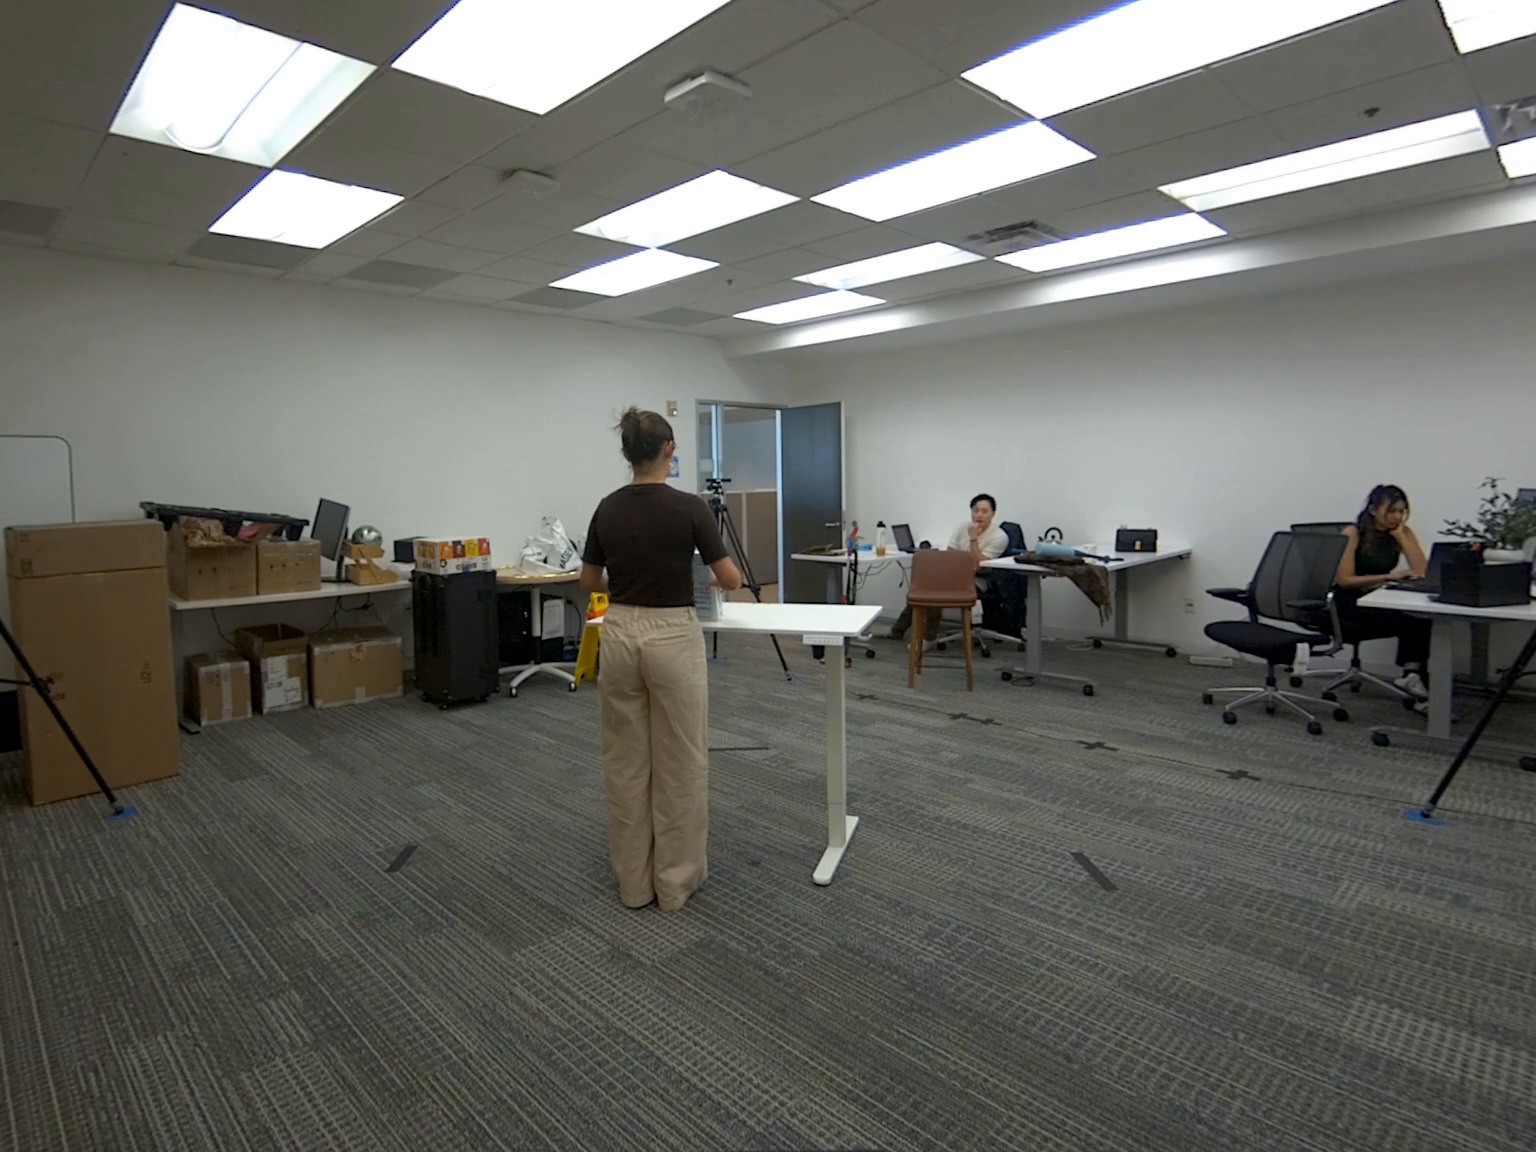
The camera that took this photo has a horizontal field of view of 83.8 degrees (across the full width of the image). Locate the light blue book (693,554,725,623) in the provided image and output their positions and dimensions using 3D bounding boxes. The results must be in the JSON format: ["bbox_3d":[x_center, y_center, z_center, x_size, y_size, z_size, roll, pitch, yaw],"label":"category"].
[{"bbox_3d":[-0.272,0.037,3.113,0.194,0.257,0.059,-2,15,15],"label":"light blue book"}]
